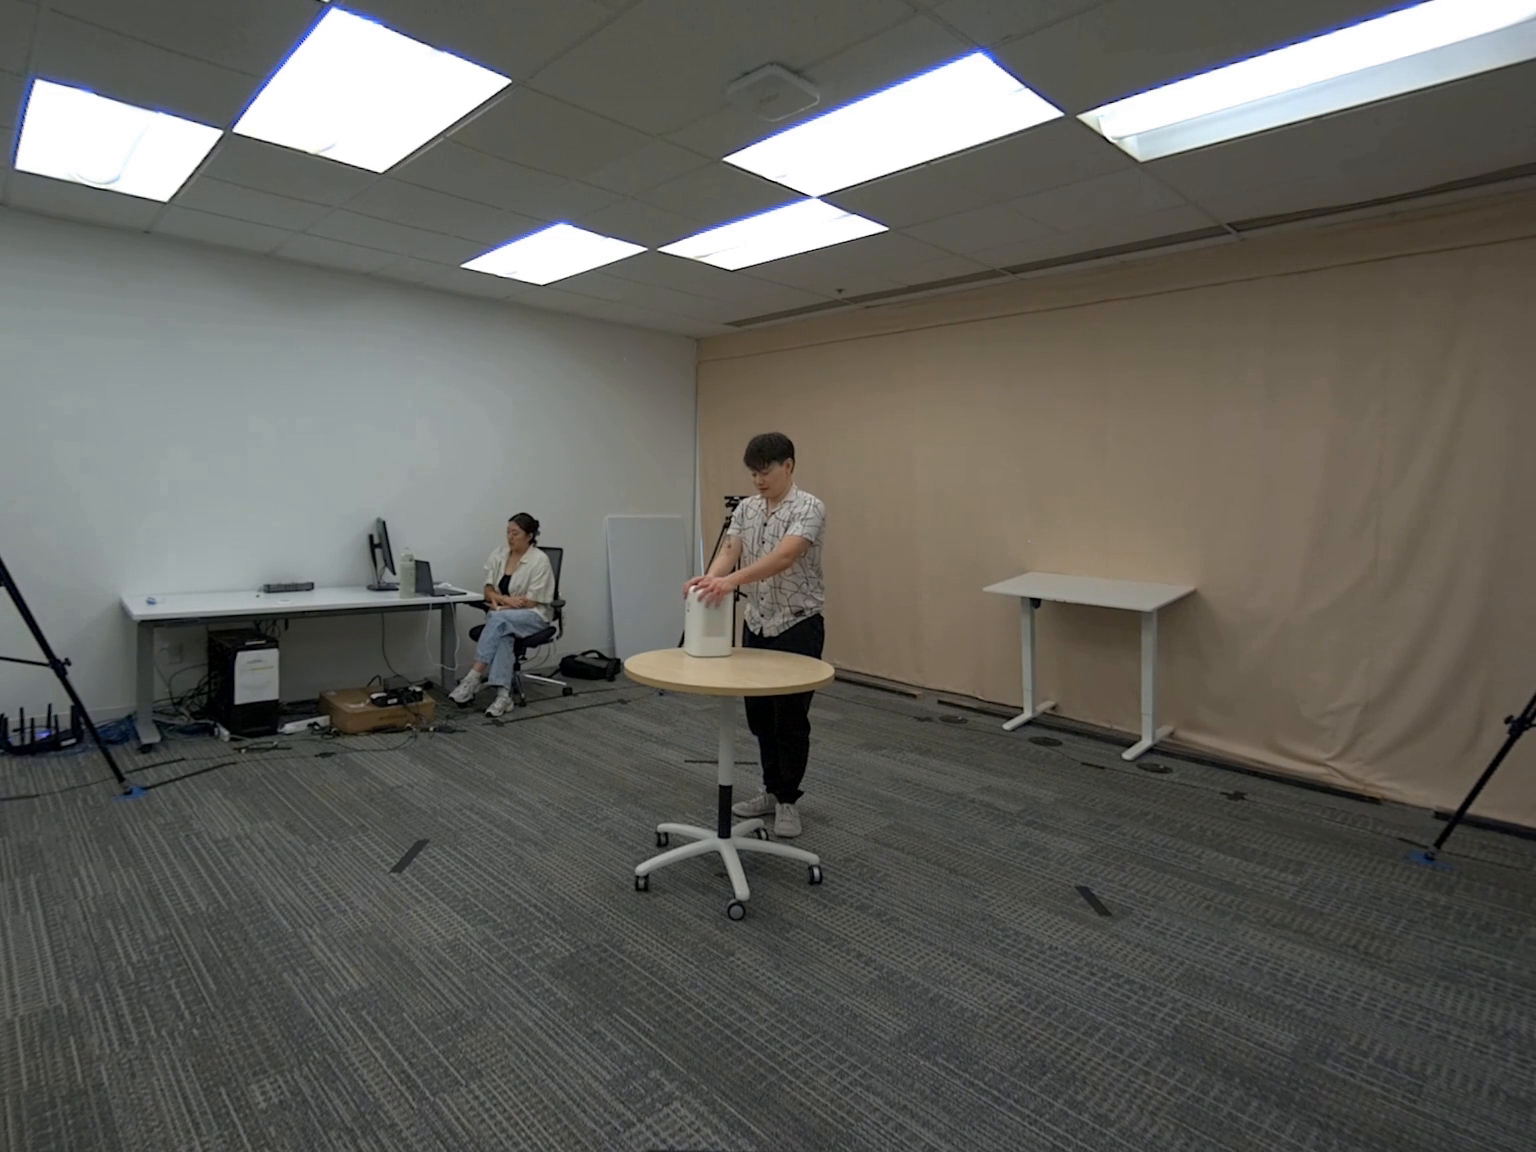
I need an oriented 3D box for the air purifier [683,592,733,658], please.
[{"bbox_3d":[-0.233,0.171,3.291,0.169,0.265,0.173,2,0,-17],"label":"air purifier"}]
